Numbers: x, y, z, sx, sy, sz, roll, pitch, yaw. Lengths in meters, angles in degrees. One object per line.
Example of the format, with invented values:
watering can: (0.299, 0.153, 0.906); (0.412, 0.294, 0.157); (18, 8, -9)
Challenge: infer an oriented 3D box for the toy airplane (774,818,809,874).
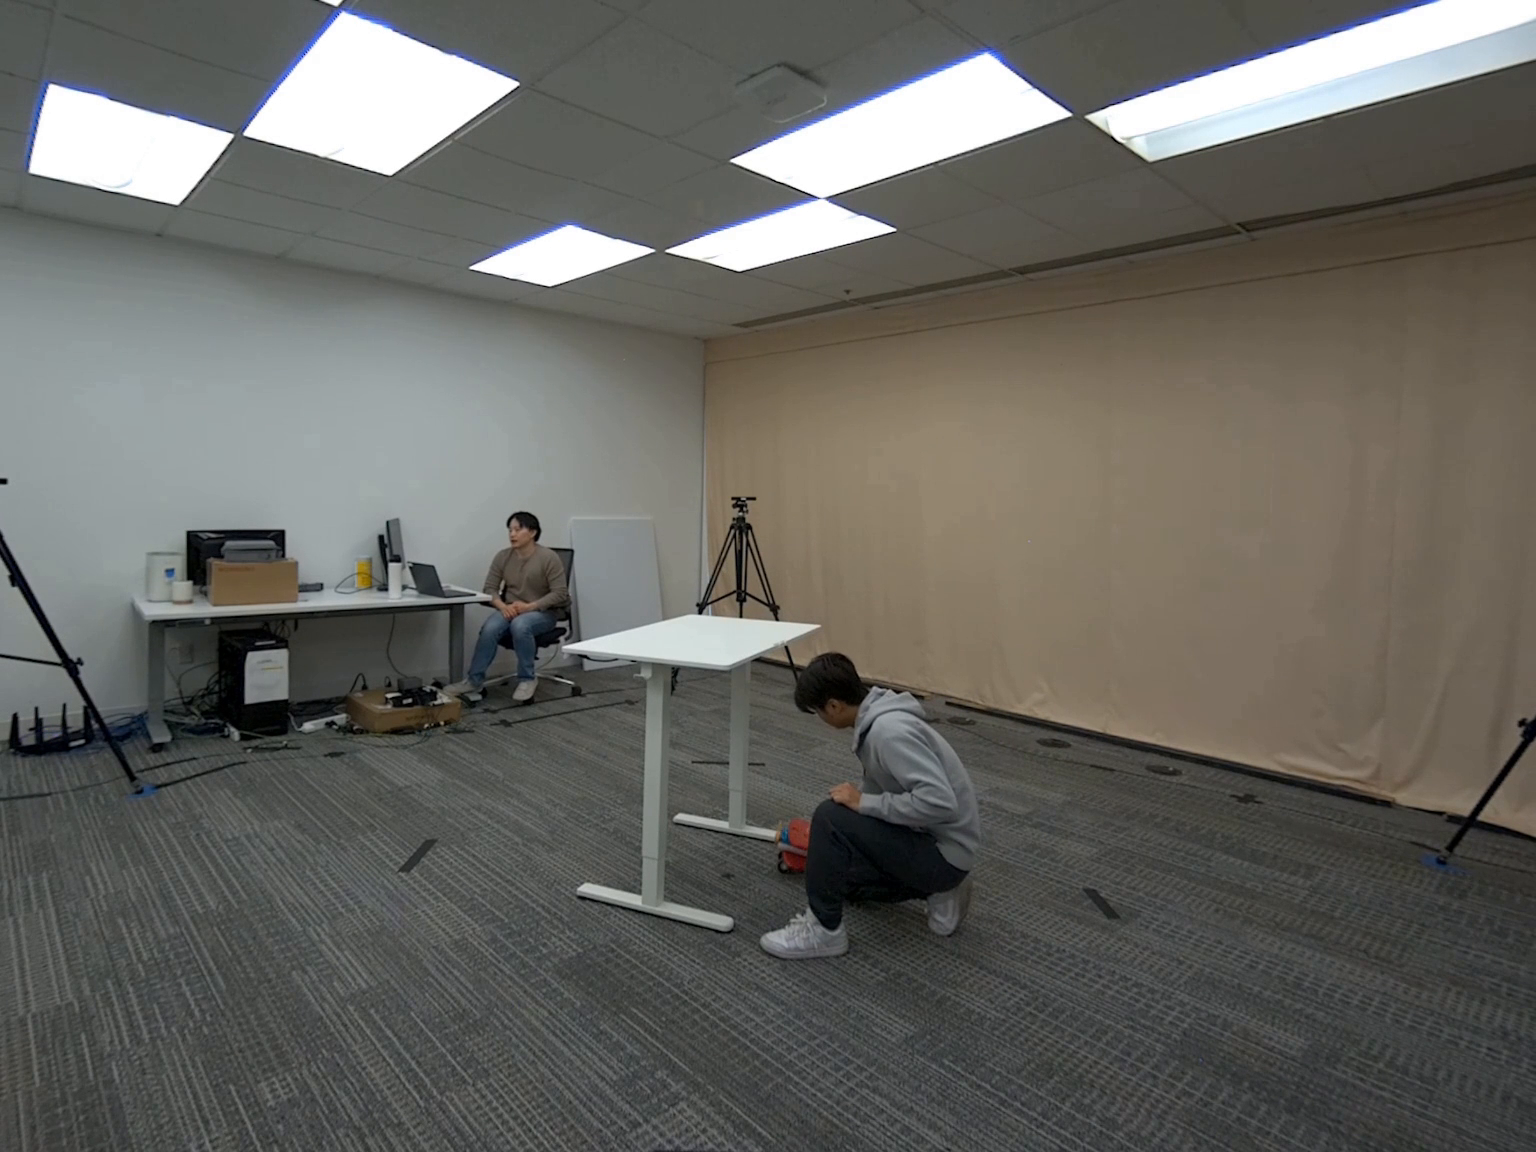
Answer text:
toy airplane: (0.144, 1.035, 3.193); (0.255, 0.156, 0.256); (-1, 6, -24)
